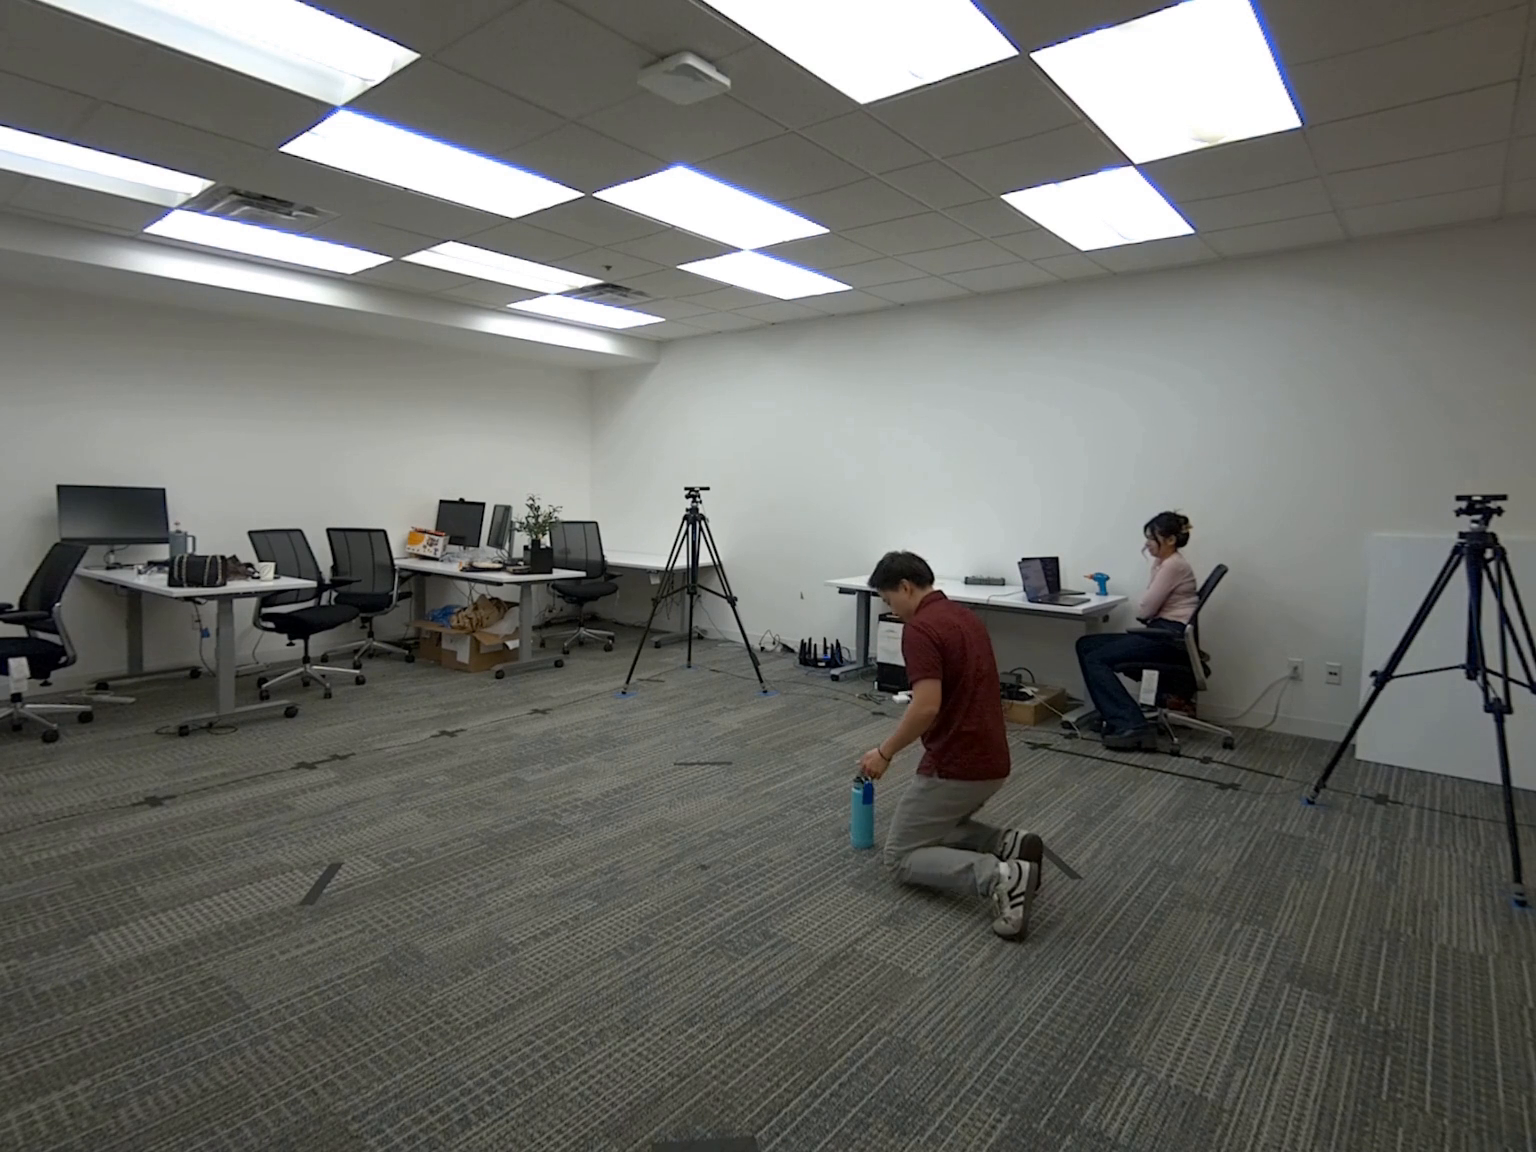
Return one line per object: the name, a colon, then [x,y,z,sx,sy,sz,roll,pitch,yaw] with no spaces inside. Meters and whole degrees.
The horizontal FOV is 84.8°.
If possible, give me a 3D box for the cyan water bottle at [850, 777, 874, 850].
cyan water bottle: [0.367,0.914,3.346,0.092,0.282,0.093,2,4,-2]
